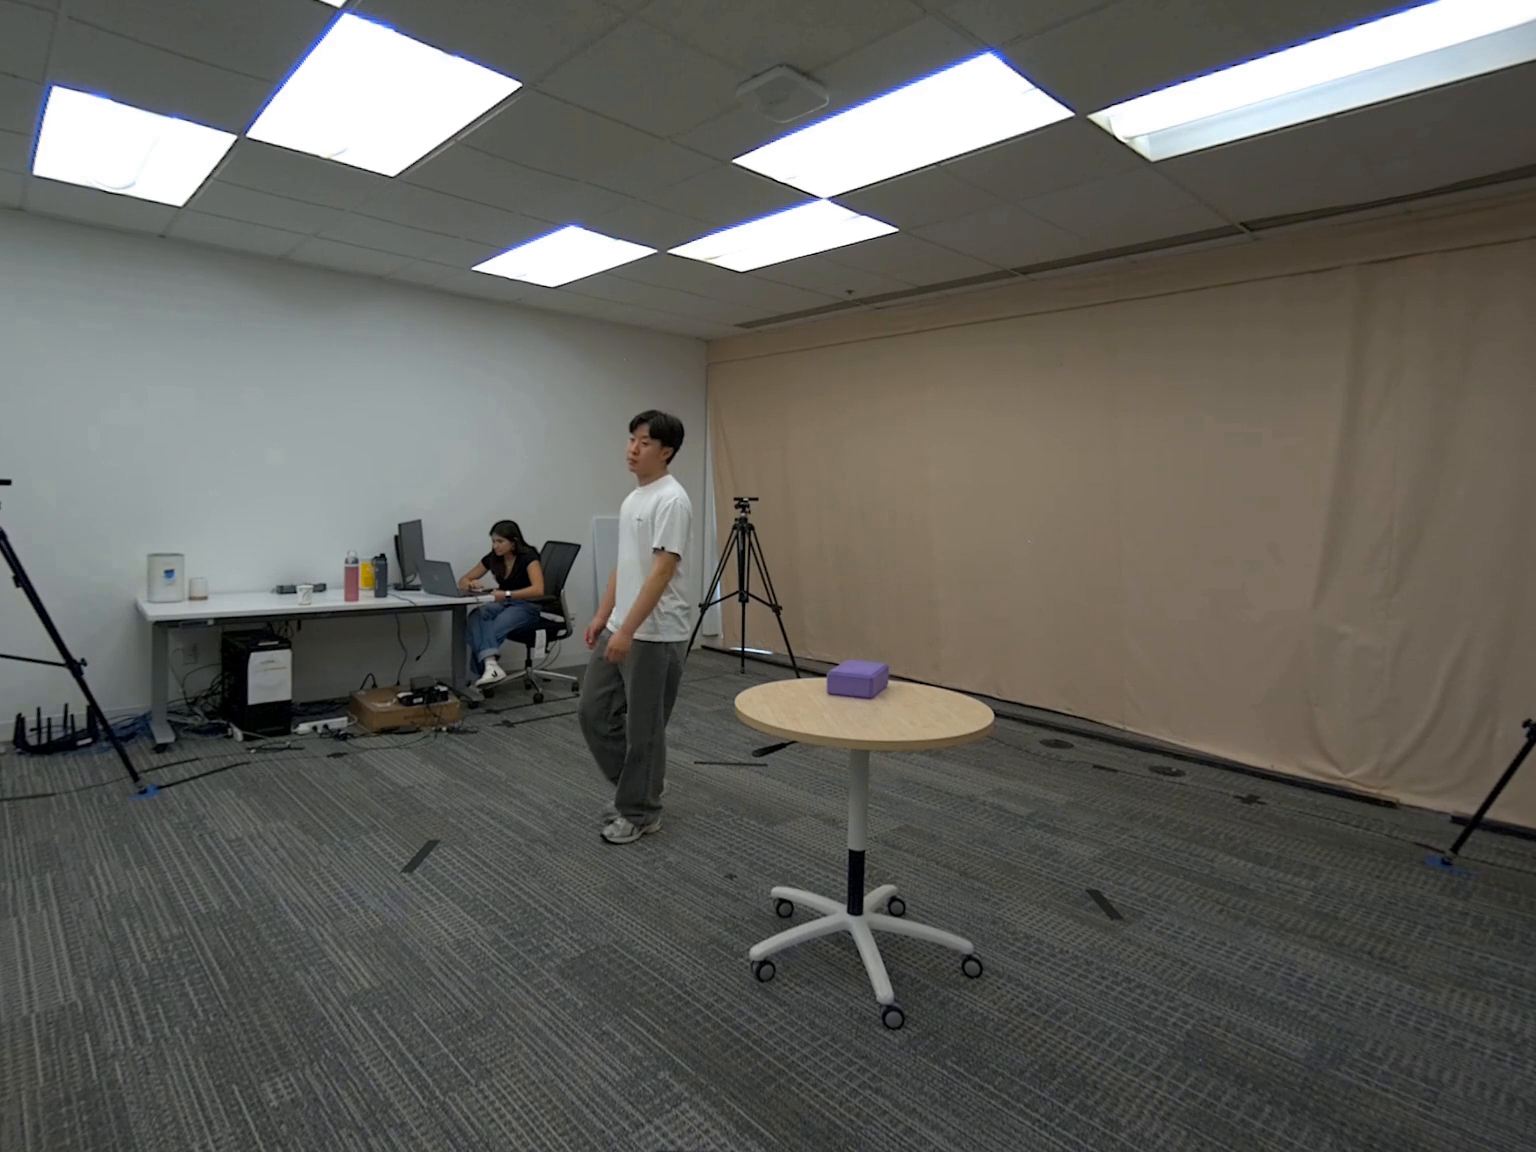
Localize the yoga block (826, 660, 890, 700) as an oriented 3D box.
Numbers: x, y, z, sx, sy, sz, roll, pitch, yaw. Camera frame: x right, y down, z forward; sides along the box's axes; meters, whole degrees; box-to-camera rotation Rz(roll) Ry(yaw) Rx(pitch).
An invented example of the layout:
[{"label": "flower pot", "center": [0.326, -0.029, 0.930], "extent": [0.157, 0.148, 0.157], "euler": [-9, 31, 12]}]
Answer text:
[{"label": "yoga block", "center": [0.288, 0.335, 2.714], "extent": [0.151, 0.076, 0.226], "euler": [3, 6, 21]}]
